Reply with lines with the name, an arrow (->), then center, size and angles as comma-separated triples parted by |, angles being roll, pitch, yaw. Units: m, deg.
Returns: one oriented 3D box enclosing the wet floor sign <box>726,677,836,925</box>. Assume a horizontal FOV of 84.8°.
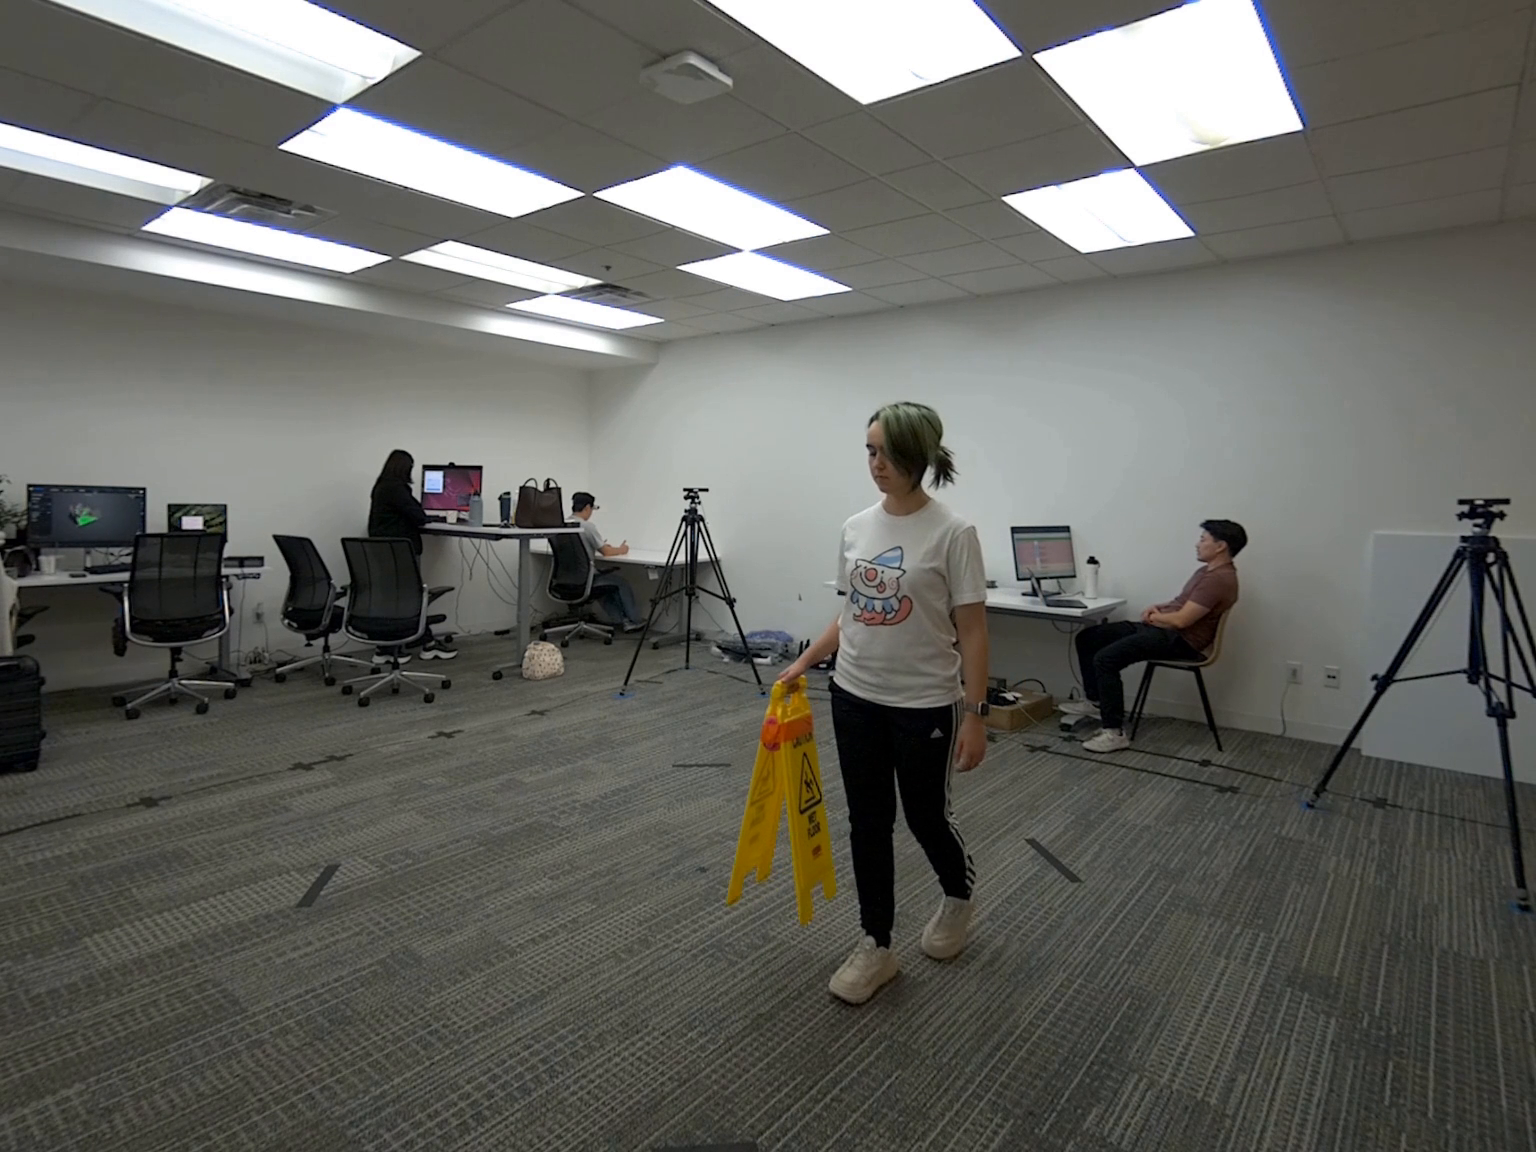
wet floor sign -> 0.046, 0.627, 2.511 | 0.297, 0.648, 0.274 | 0, -2, 25
